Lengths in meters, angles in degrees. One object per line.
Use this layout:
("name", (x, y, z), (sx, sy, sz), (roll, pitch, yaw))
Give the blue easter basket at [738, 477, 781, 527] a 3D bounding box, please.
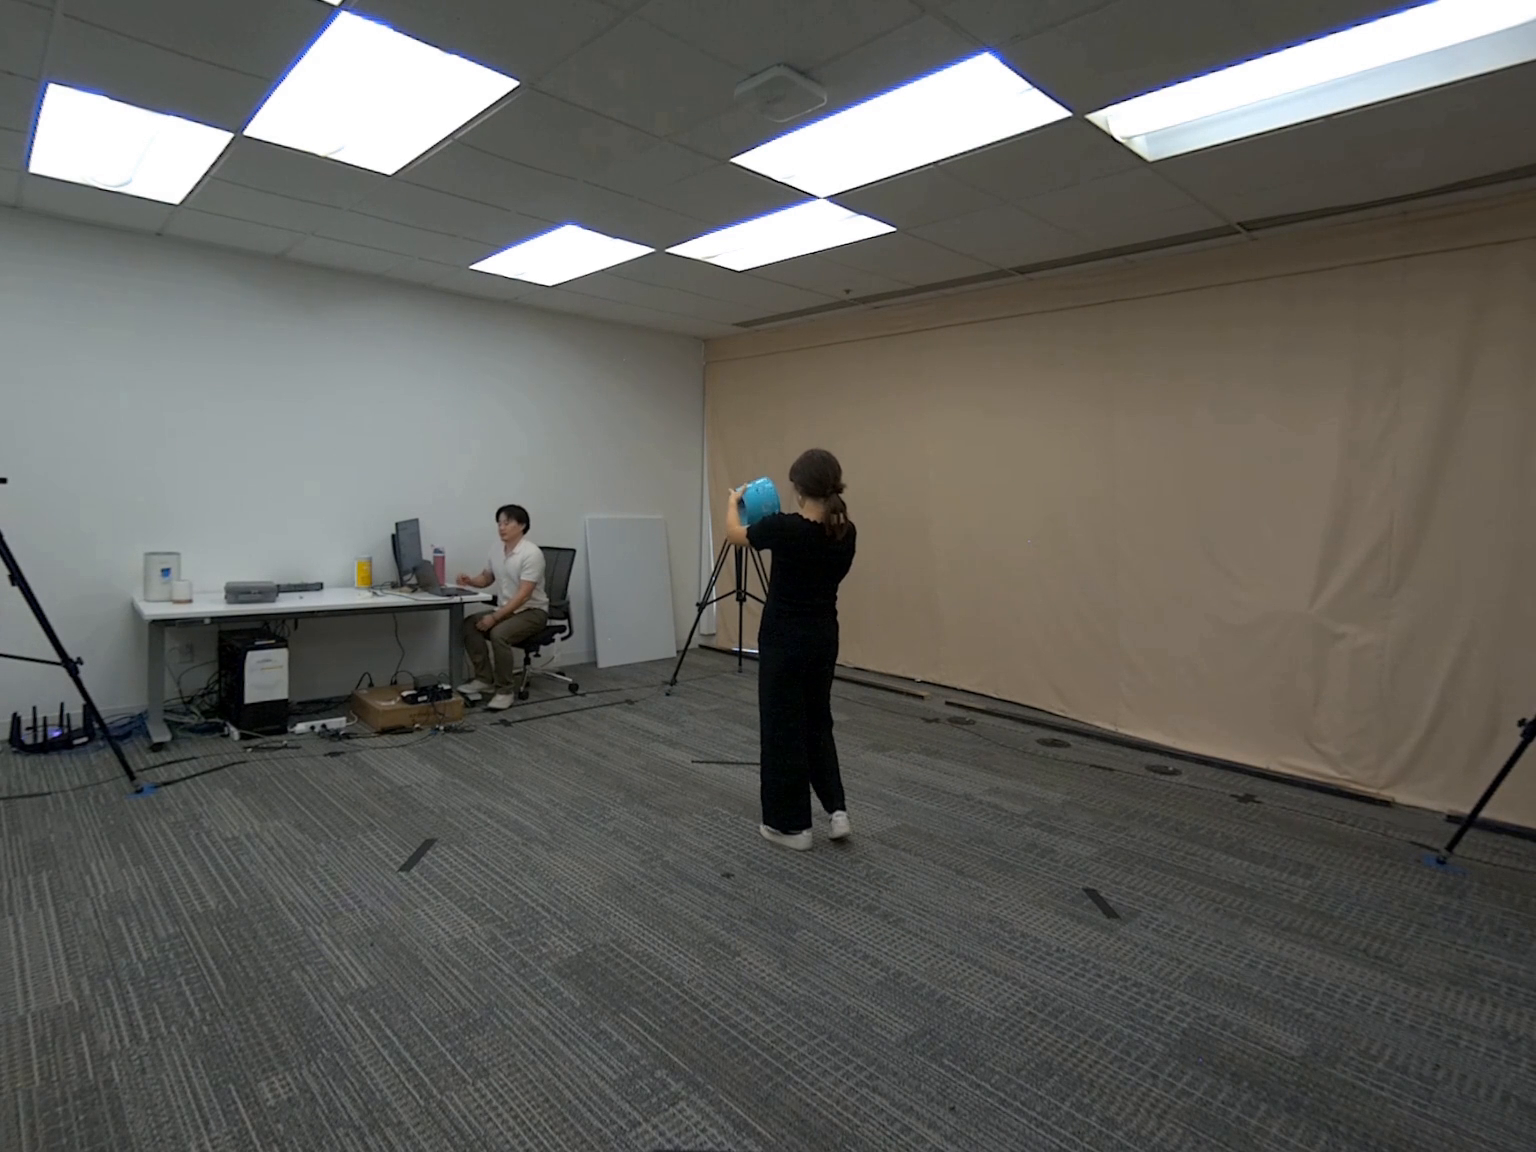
("blue easter basket", (-0.067, -0.309, 3.732), (0.154, 0.241, 0.248), (-16, 11, -22))
